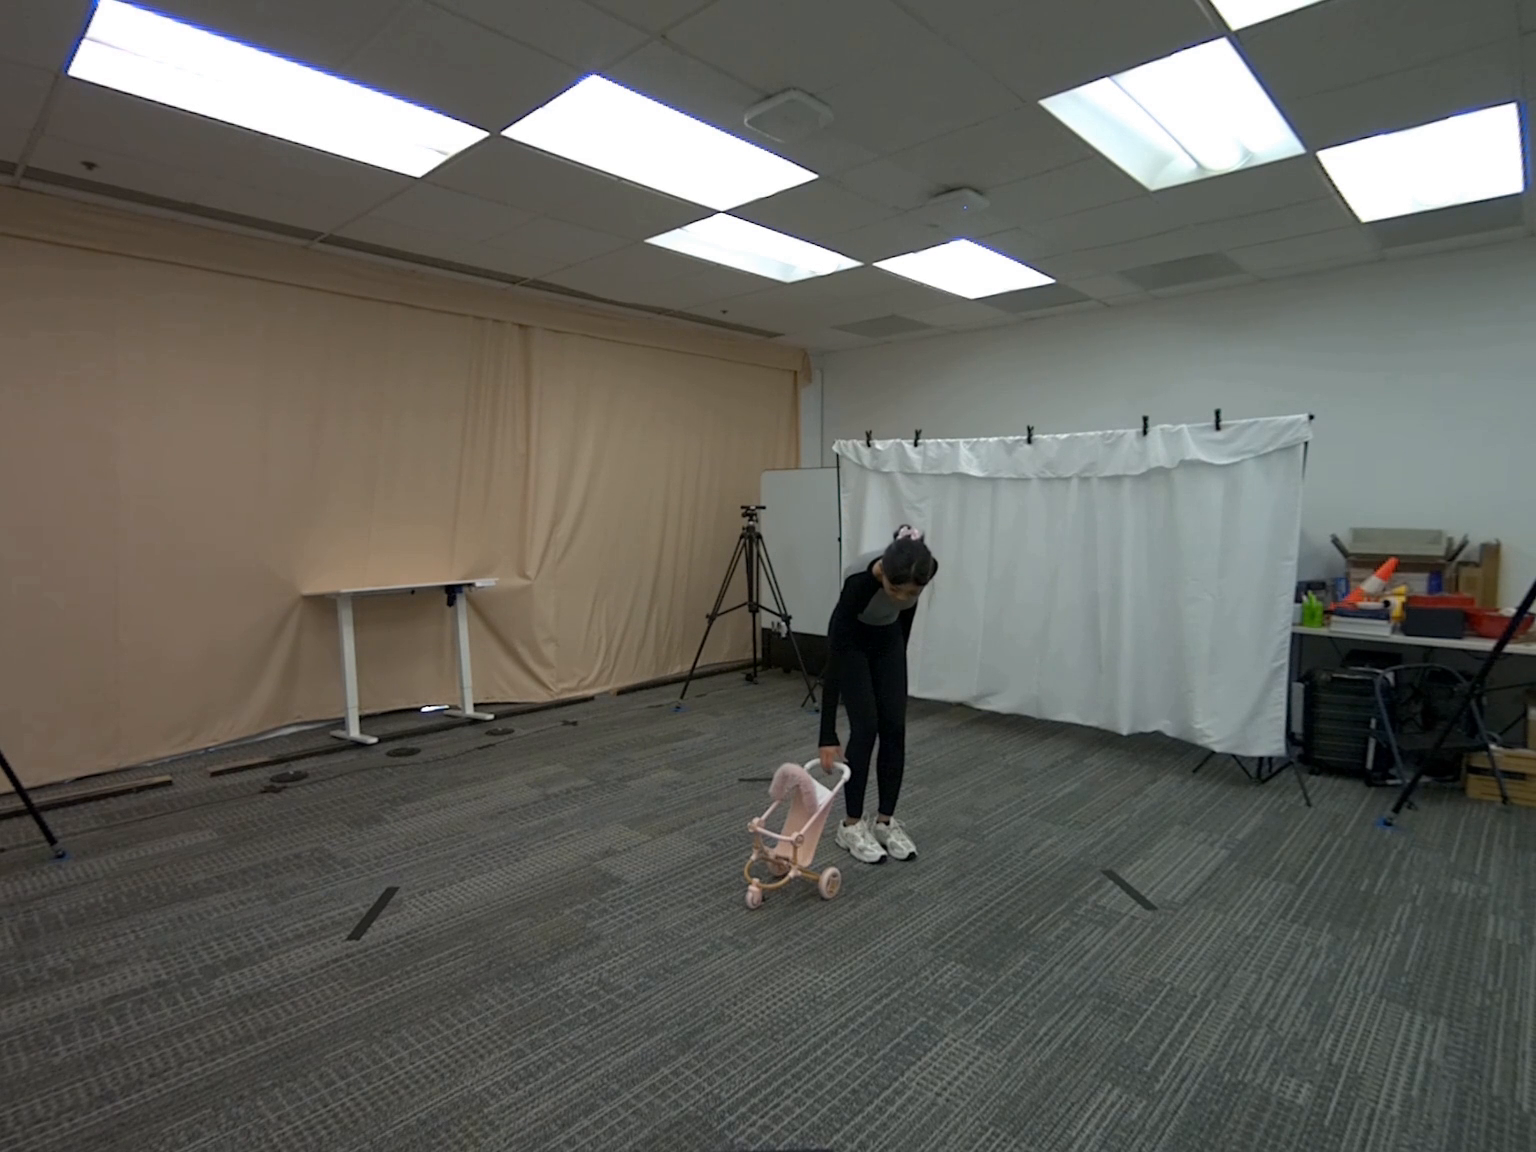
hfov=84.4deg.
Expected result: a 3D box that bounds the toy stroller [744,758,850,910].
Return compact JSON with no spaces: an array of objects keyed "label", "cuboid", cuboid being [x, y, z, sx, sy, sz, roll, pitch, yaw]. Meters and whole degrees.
[{"label":"toy stroller","cuboid":[0.089,0.914,3.025,0.329,0.536,0.291,18,-9,-39]}]
